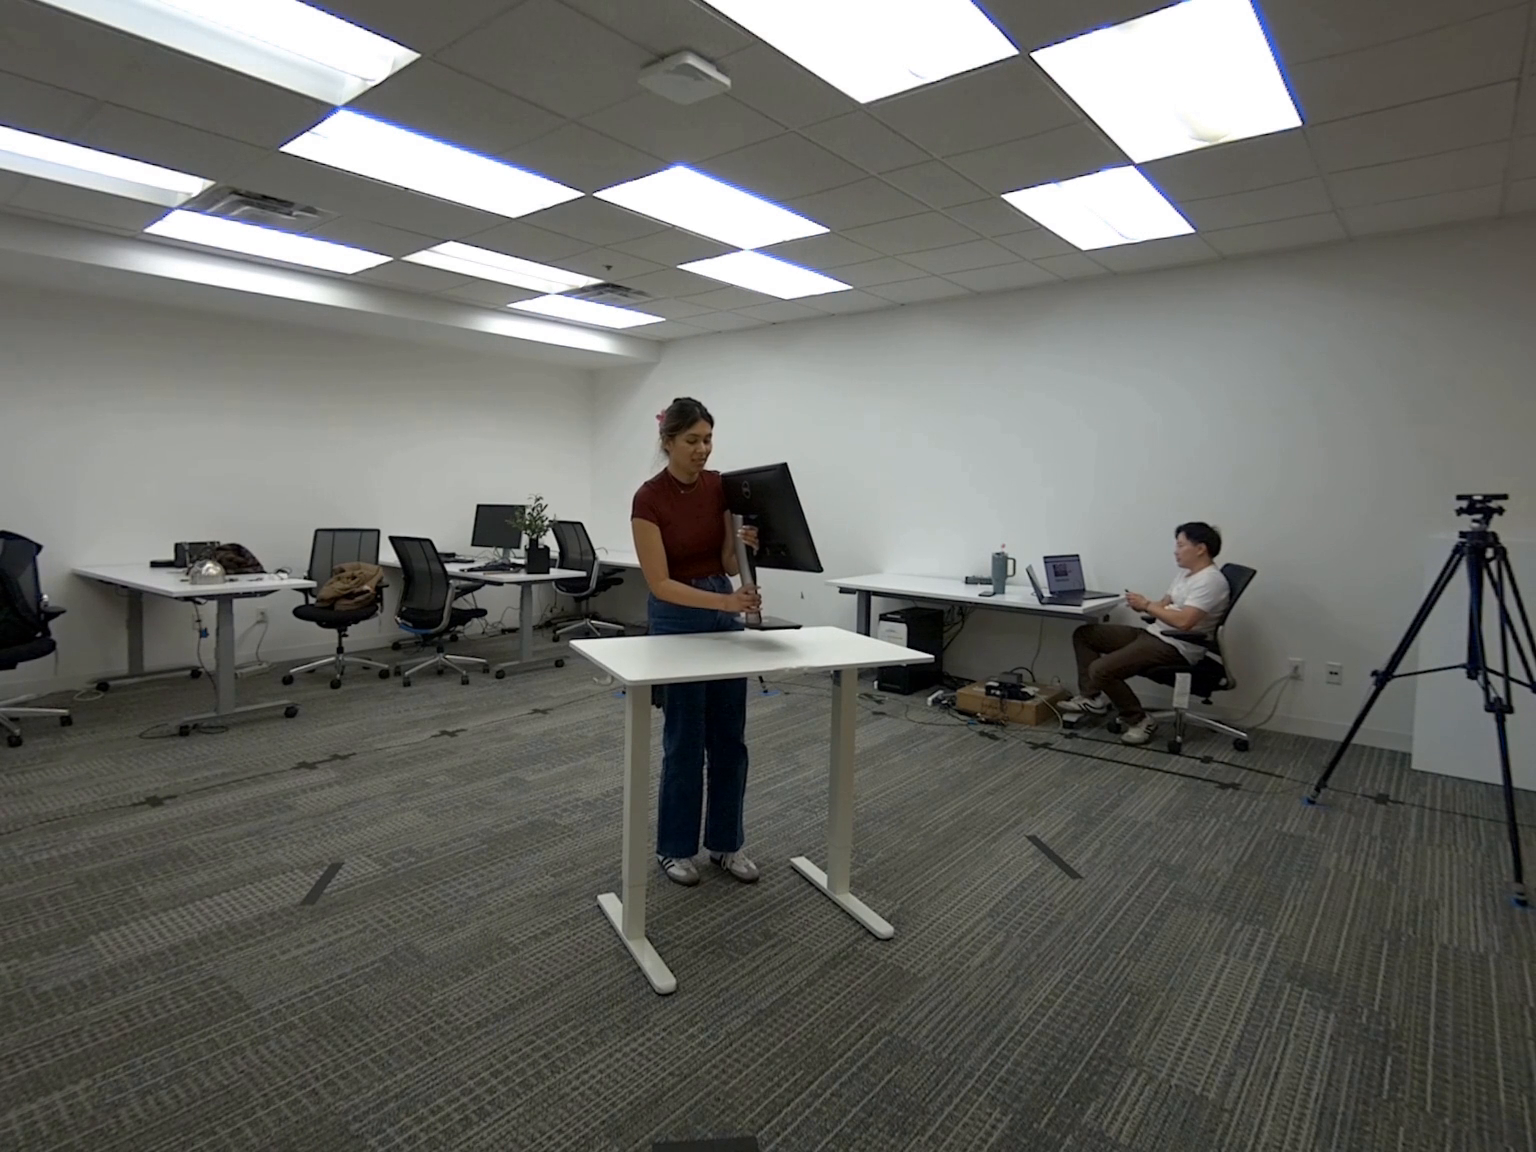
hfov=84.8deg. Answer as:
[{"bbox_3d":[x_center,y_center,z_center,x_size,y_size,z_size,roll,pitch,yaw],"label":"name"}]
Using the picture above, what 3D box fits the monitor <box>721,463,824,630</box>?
[{"bbox_3d":[-0.041,-0.093,2.774,0.183,0.522,0.552,-6,3,-27],"label":"monitor"}]
